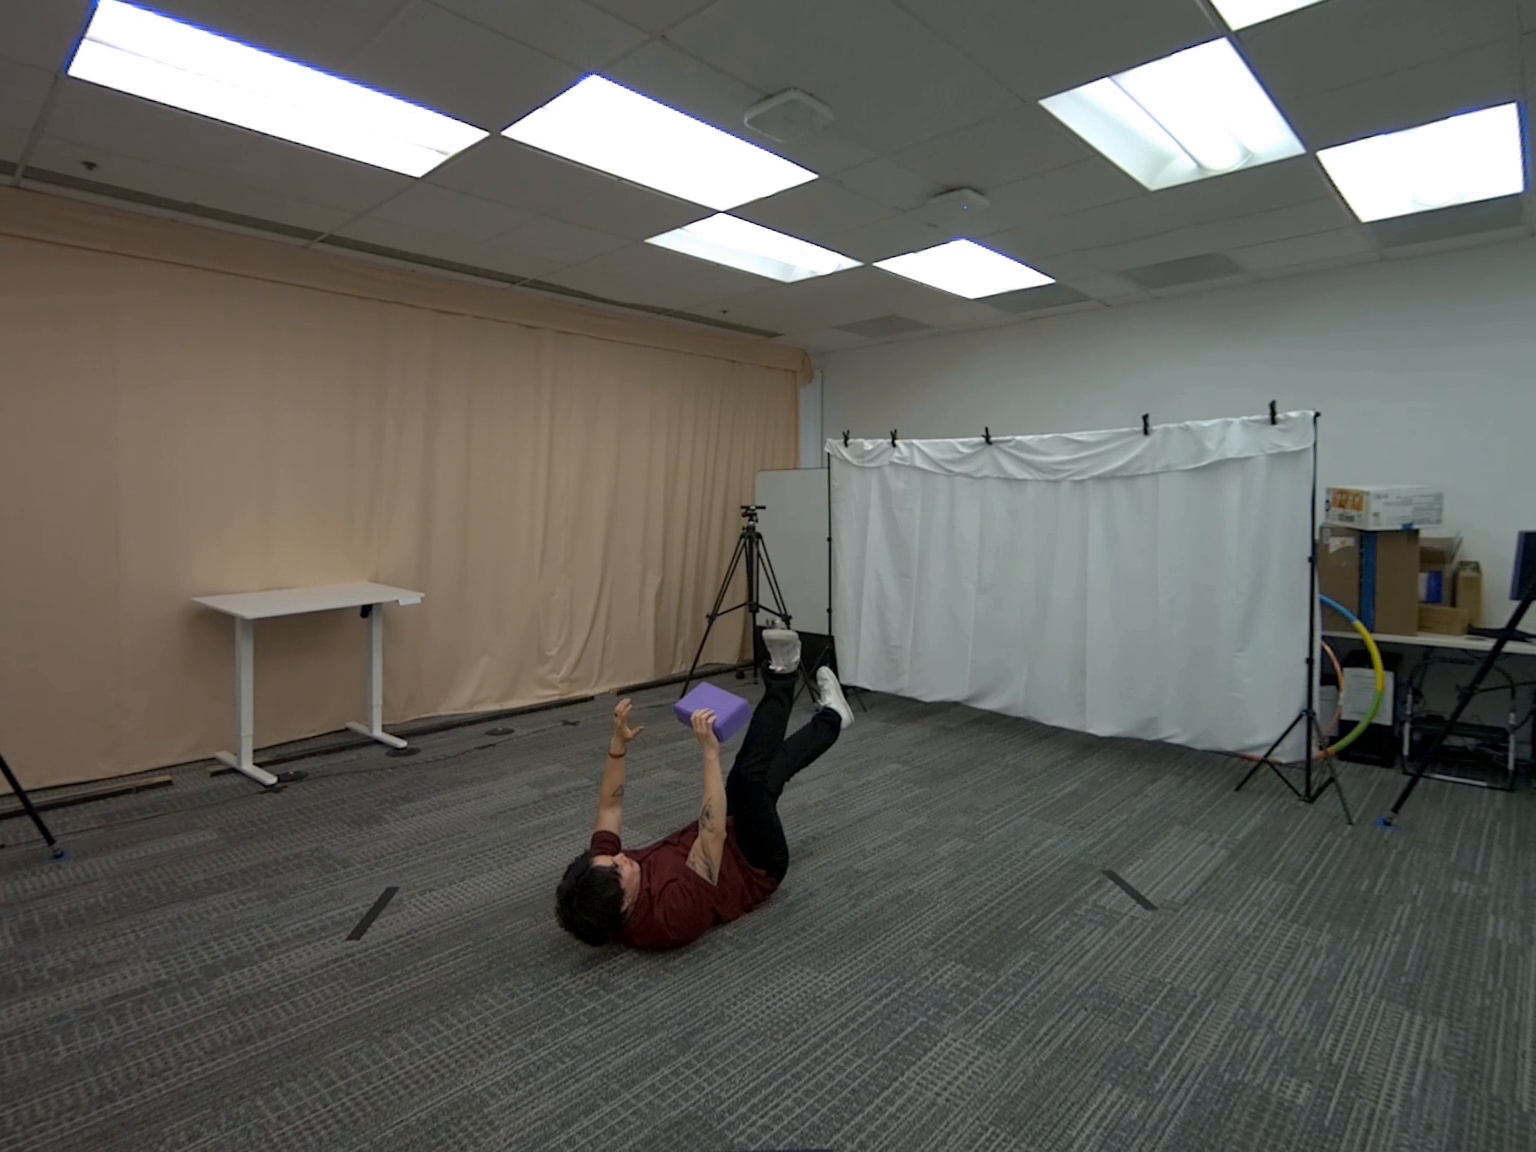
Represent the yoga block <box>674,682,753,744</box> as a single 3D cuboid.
[{"bbox_3d":[-0.174,0.445,2.765,0.147,0.075,0.237,-37,32,-30],"label":"yoga block"}]
